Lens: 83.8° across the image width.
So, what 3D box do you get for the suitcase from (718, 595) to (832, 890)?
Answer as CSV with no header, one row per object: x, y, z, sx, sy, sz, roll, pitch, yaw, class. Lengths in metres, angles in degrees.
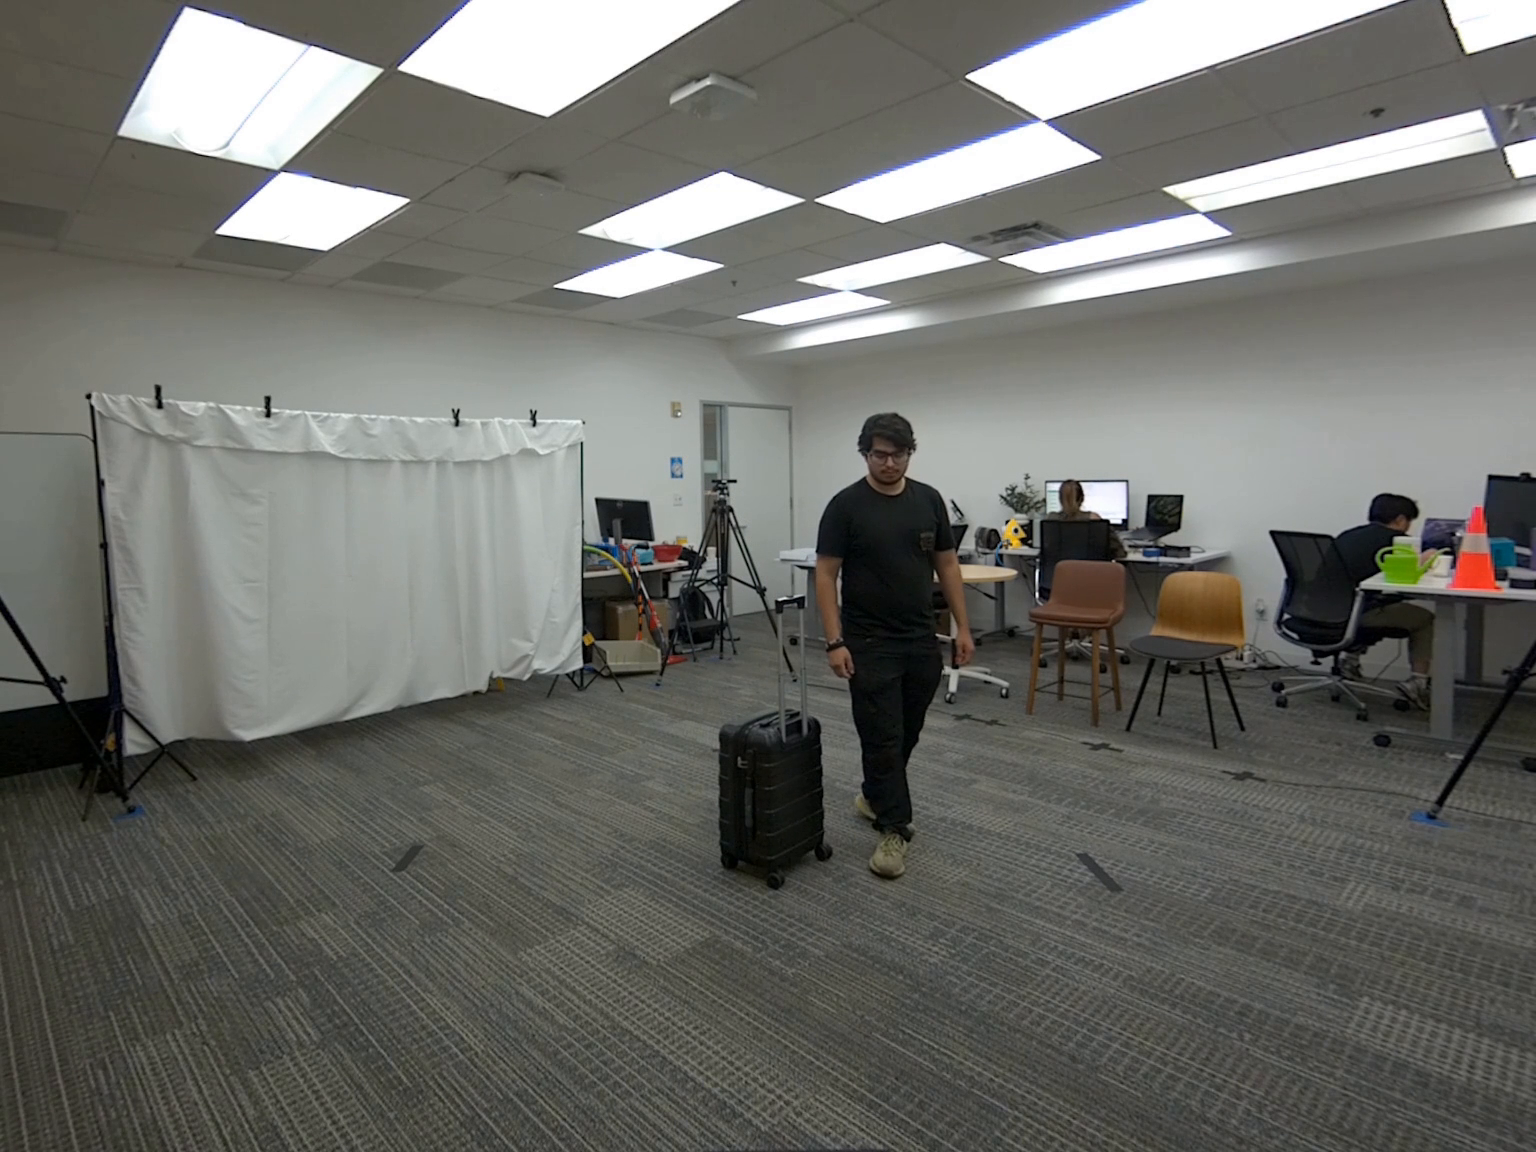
0.005,0.573,3.085,0.264,0.977,0.374,-1,3,39,suitcase
